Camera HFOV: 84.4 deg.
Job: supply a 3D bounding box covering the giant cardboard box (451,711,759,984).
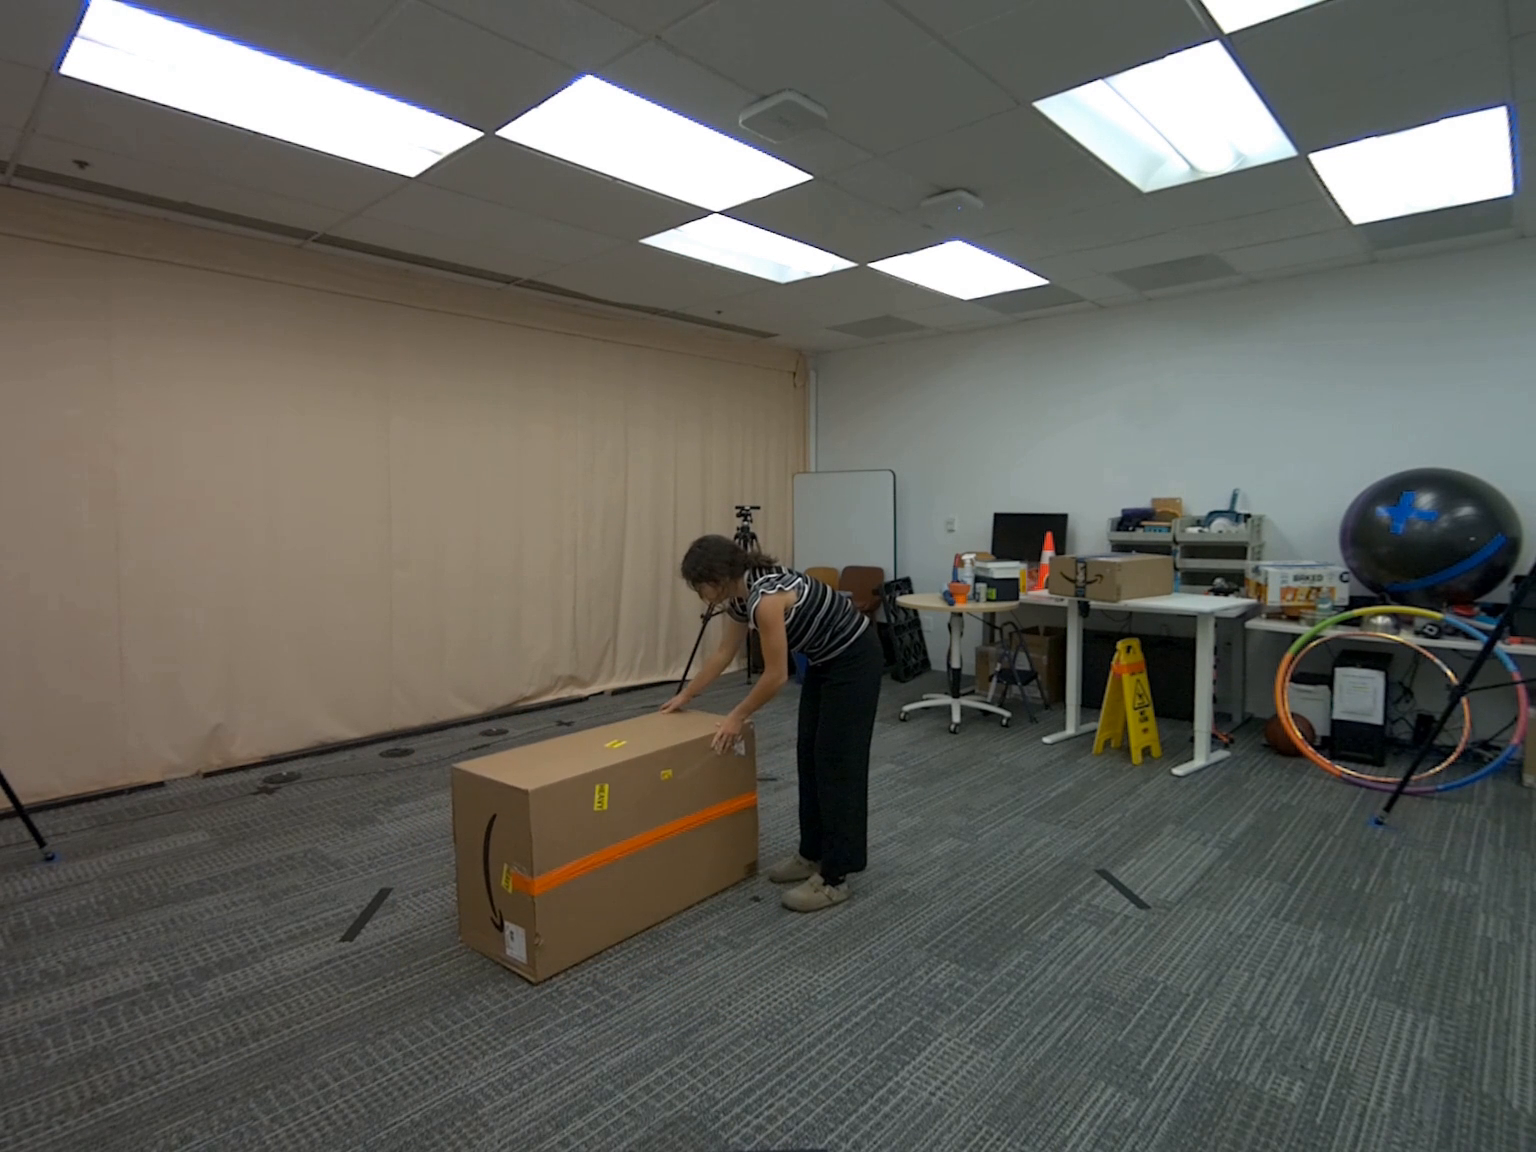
[{"bbox_3d":[-0.525,0.861,2.943,0.440,0.576,0.995,2,5,41],"label":"giant cardboard box"}]
